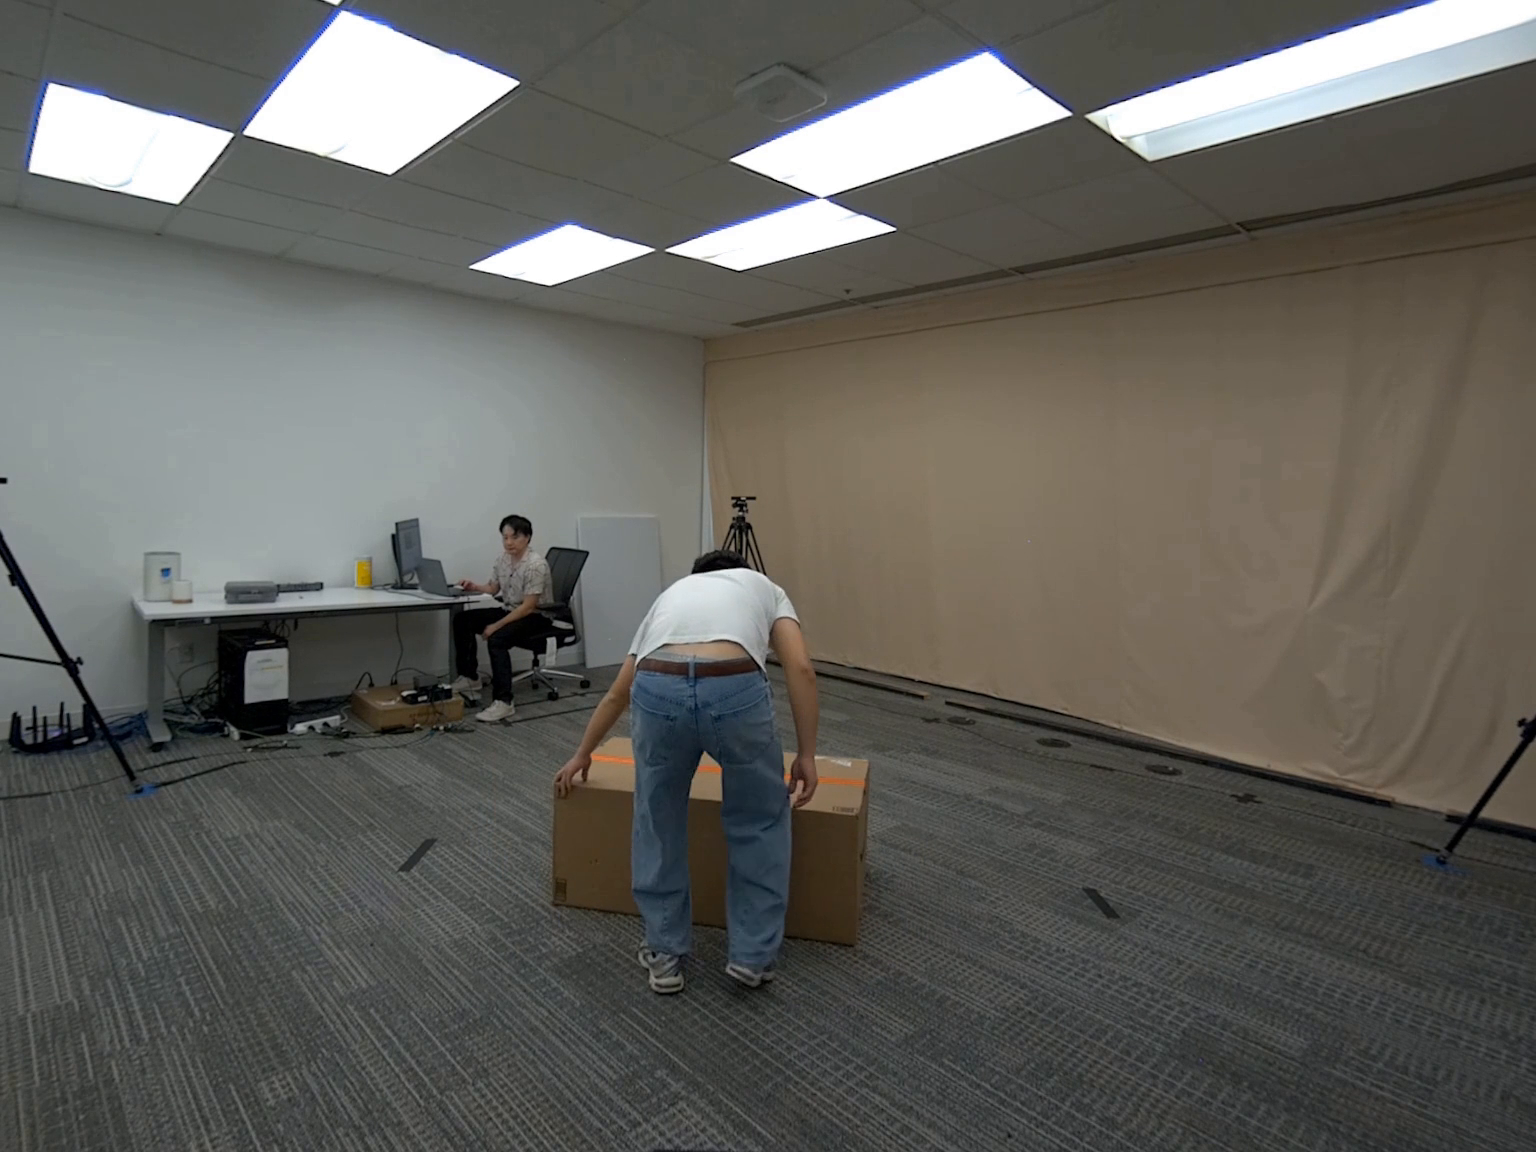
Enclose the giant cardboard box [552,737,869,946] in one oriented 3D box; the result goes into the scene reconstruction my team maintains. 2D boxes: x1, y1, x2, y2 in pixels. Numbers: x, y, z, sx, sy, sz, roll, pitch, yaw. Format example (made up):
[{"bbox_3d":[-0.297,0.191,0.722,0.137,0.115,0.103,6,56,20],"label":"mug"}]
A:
[{"bbox_3d":[-0.175,0.898,2.997,1.036,0.425,0.573,2,4,12],"label":"giant cardboard box"}]
